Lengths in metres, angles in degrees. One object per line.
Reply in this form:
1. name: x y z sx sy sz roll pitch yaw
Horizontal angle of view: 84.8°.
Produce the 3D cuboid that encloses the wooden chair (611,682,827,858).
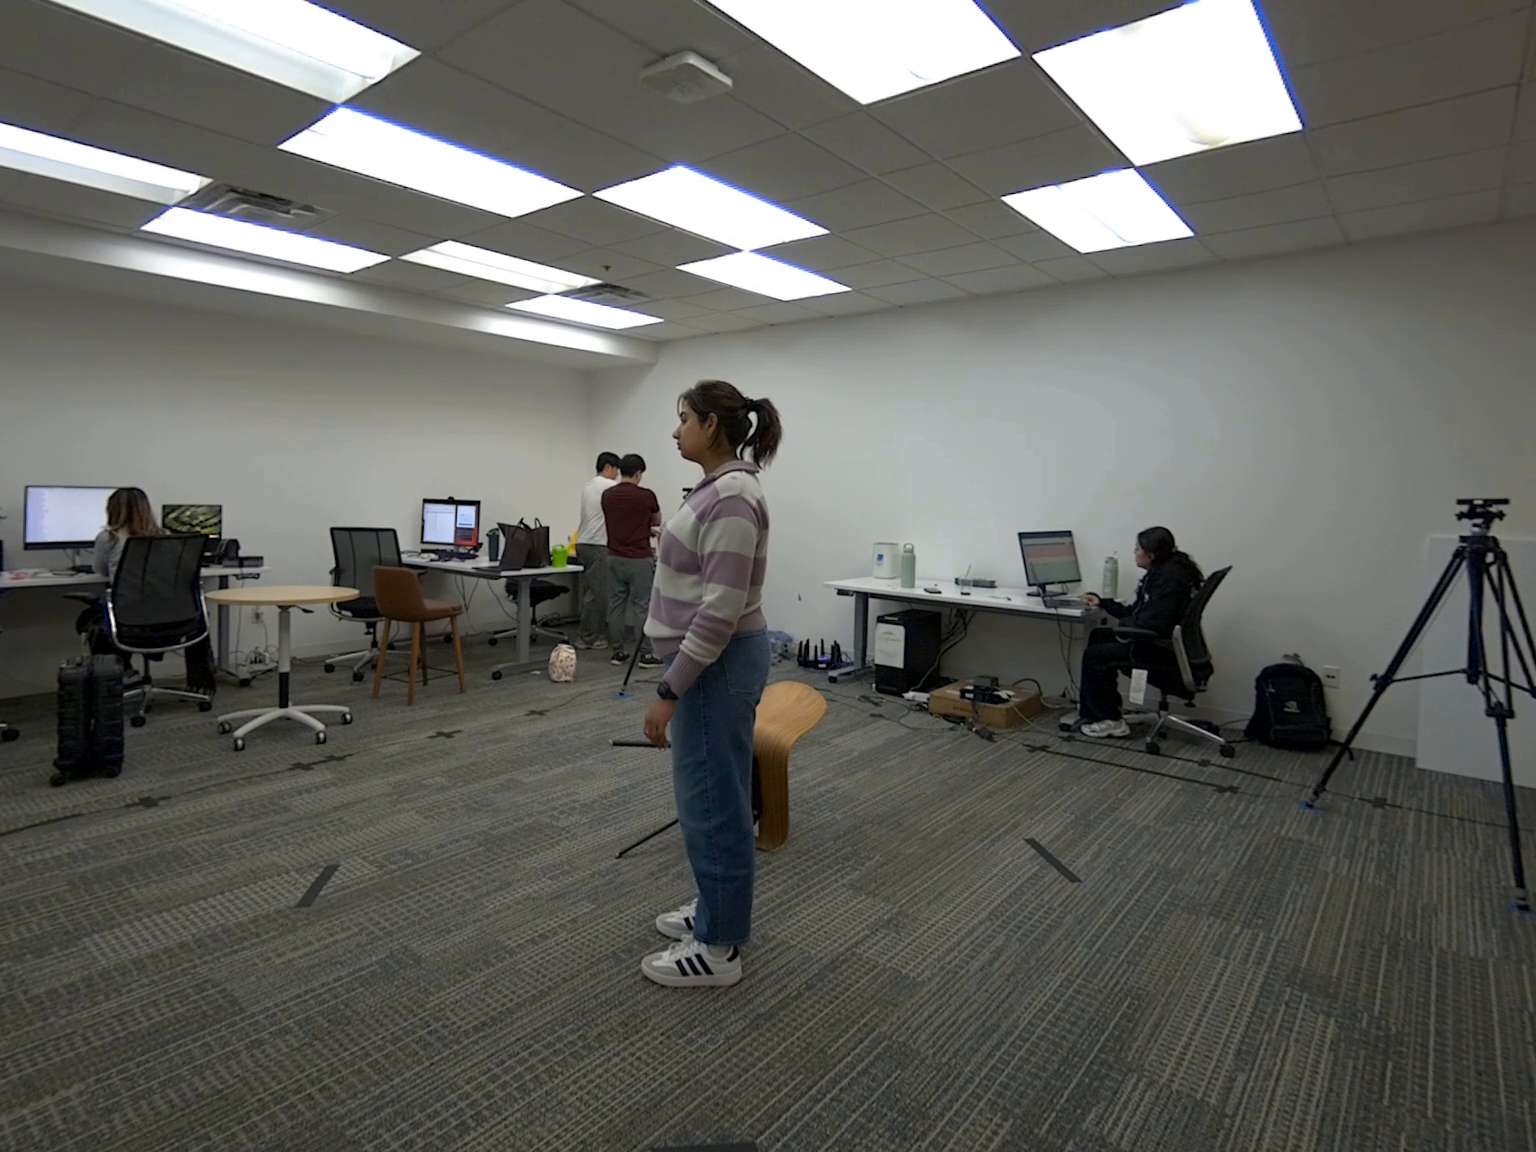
1. wooden chair: -0.142 0.794 3.326 0.494 0.518 0.858 4 14 41
